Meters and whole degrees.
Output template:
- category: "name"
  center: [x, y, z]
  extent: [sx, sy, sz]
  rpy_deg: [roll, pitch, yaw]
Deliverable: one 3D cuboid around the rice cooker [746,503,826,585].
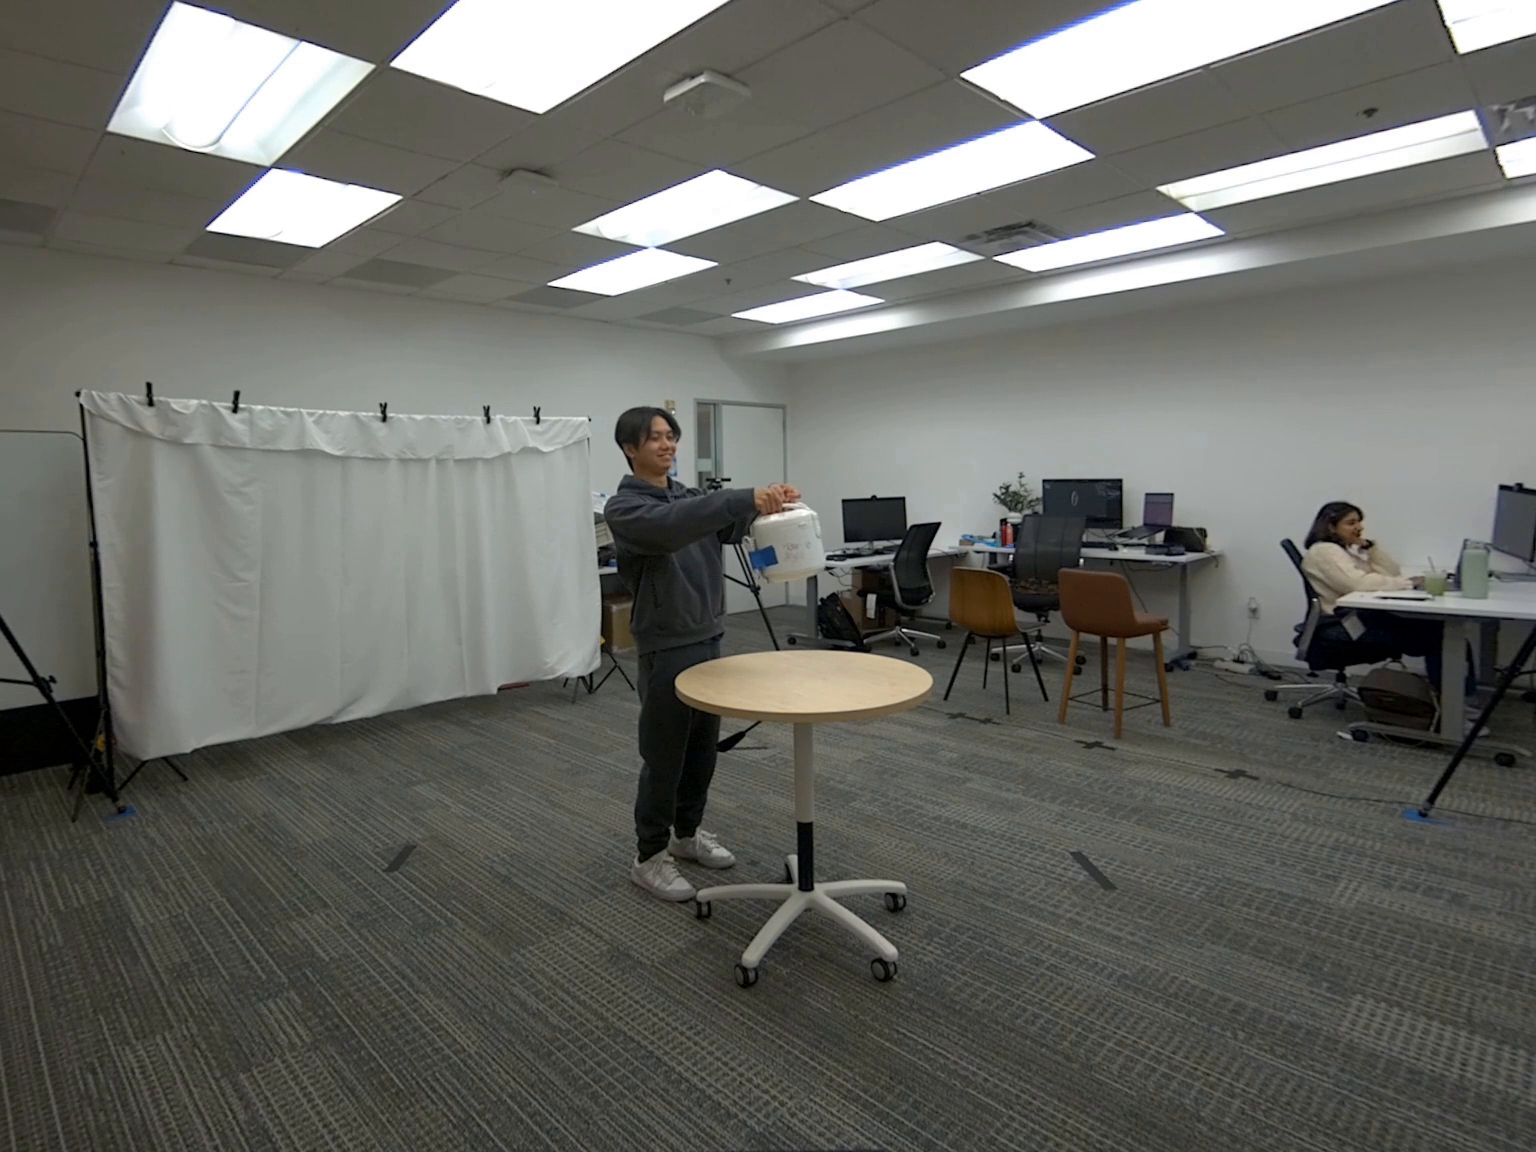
- category: "rice cooker"
  center: [0.062, -0.105, 2.631]
  extent: [0.225, 0.232, 0.214]
  rpy_deg: [-8, 4, 24]
